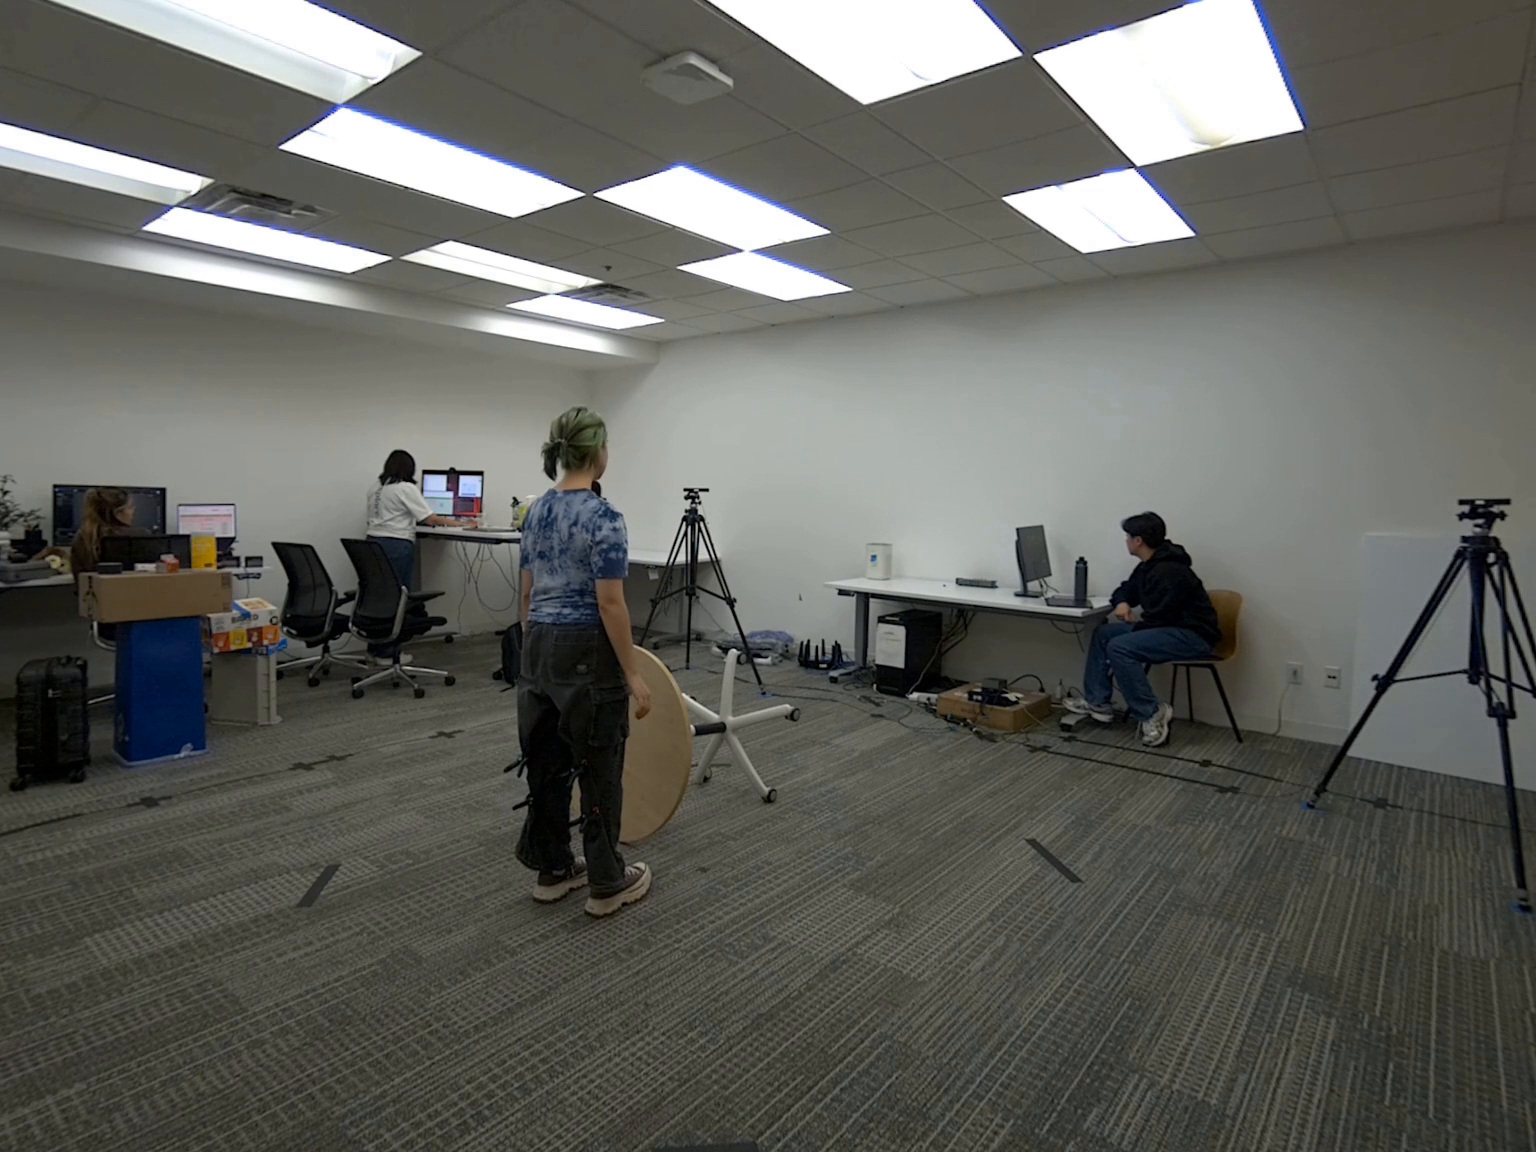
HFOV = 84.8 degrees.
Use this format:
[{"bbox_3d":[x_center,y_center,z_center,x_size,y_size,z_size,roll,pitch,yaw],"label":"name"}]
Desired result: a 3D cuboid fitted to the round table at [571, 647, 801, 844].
[{"bbox_3d":[-0.378,0.674,3.683,0.789,0.765,0.767,4,-2,39],"label":"round table"}]
